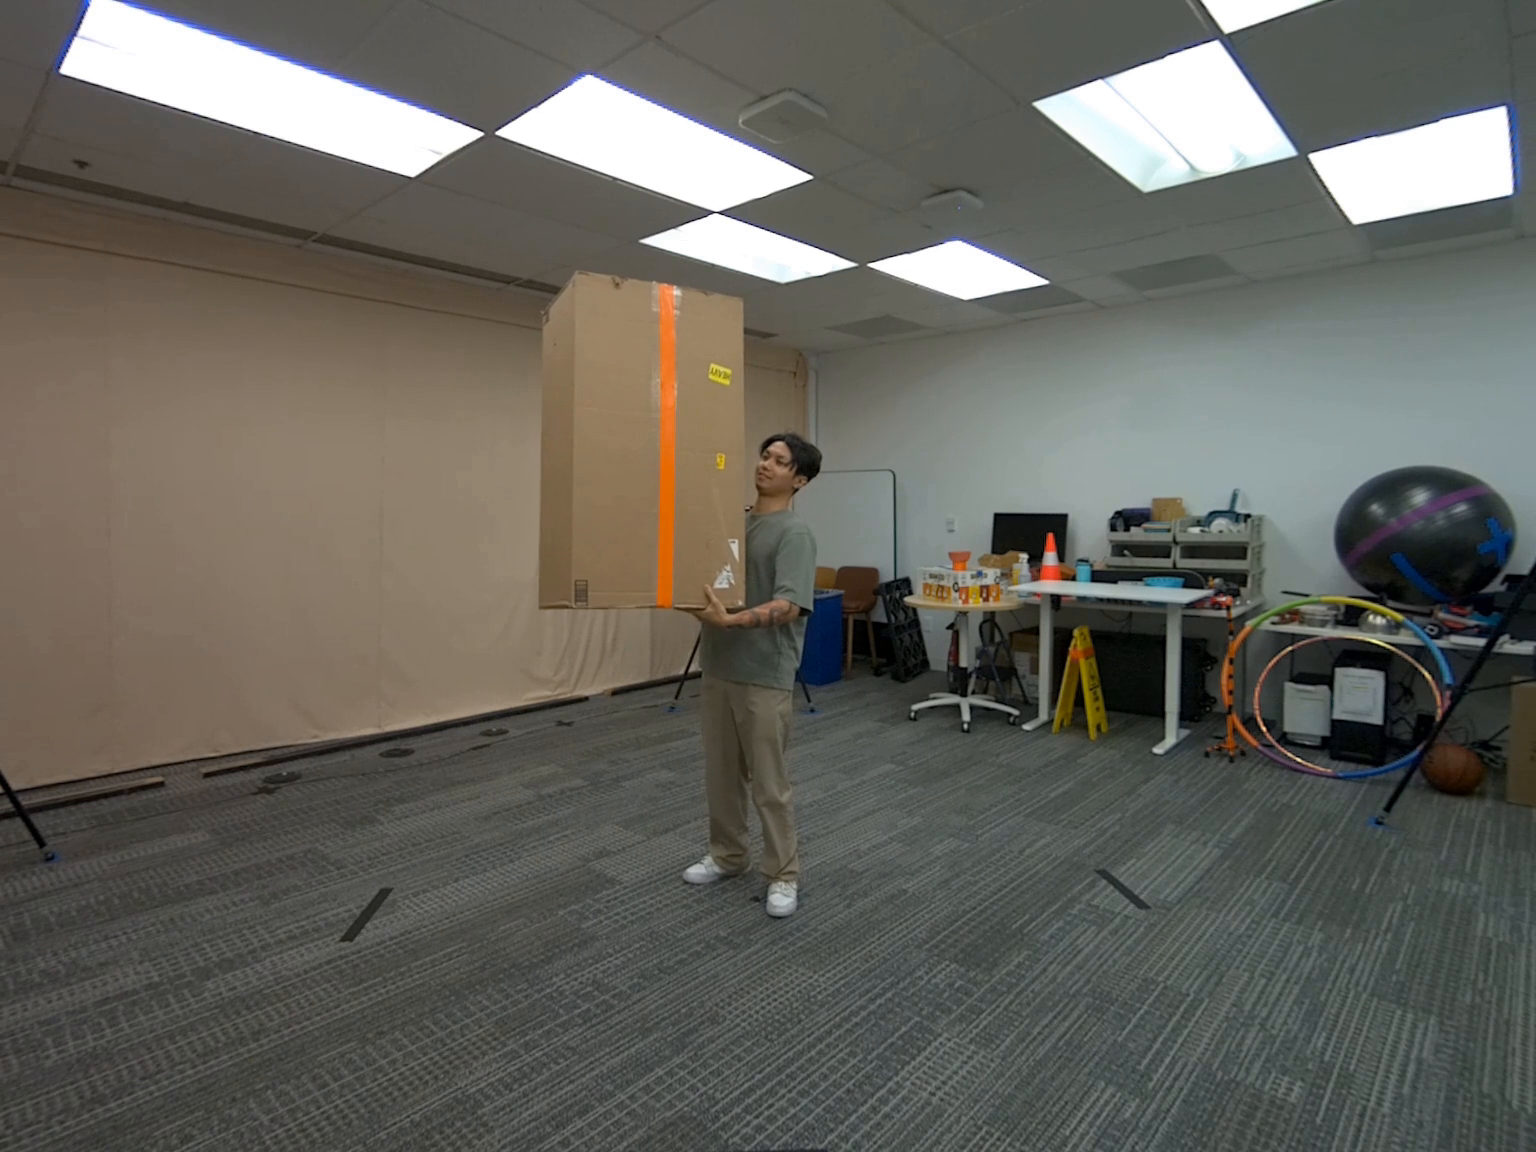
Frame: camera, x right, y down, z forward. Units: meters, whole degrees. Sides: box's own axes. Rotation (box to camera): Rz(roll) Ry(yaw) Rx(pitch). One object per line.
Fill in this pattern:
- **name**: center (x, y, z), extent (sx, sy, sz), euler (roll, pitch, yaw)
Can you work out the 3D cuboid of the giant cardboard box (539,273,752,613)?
- **giant cardboard box**: center (-0.423, -0.401, 2.807), extent (0.562, 1.029, 0.436), euler (2, -5, -27)
